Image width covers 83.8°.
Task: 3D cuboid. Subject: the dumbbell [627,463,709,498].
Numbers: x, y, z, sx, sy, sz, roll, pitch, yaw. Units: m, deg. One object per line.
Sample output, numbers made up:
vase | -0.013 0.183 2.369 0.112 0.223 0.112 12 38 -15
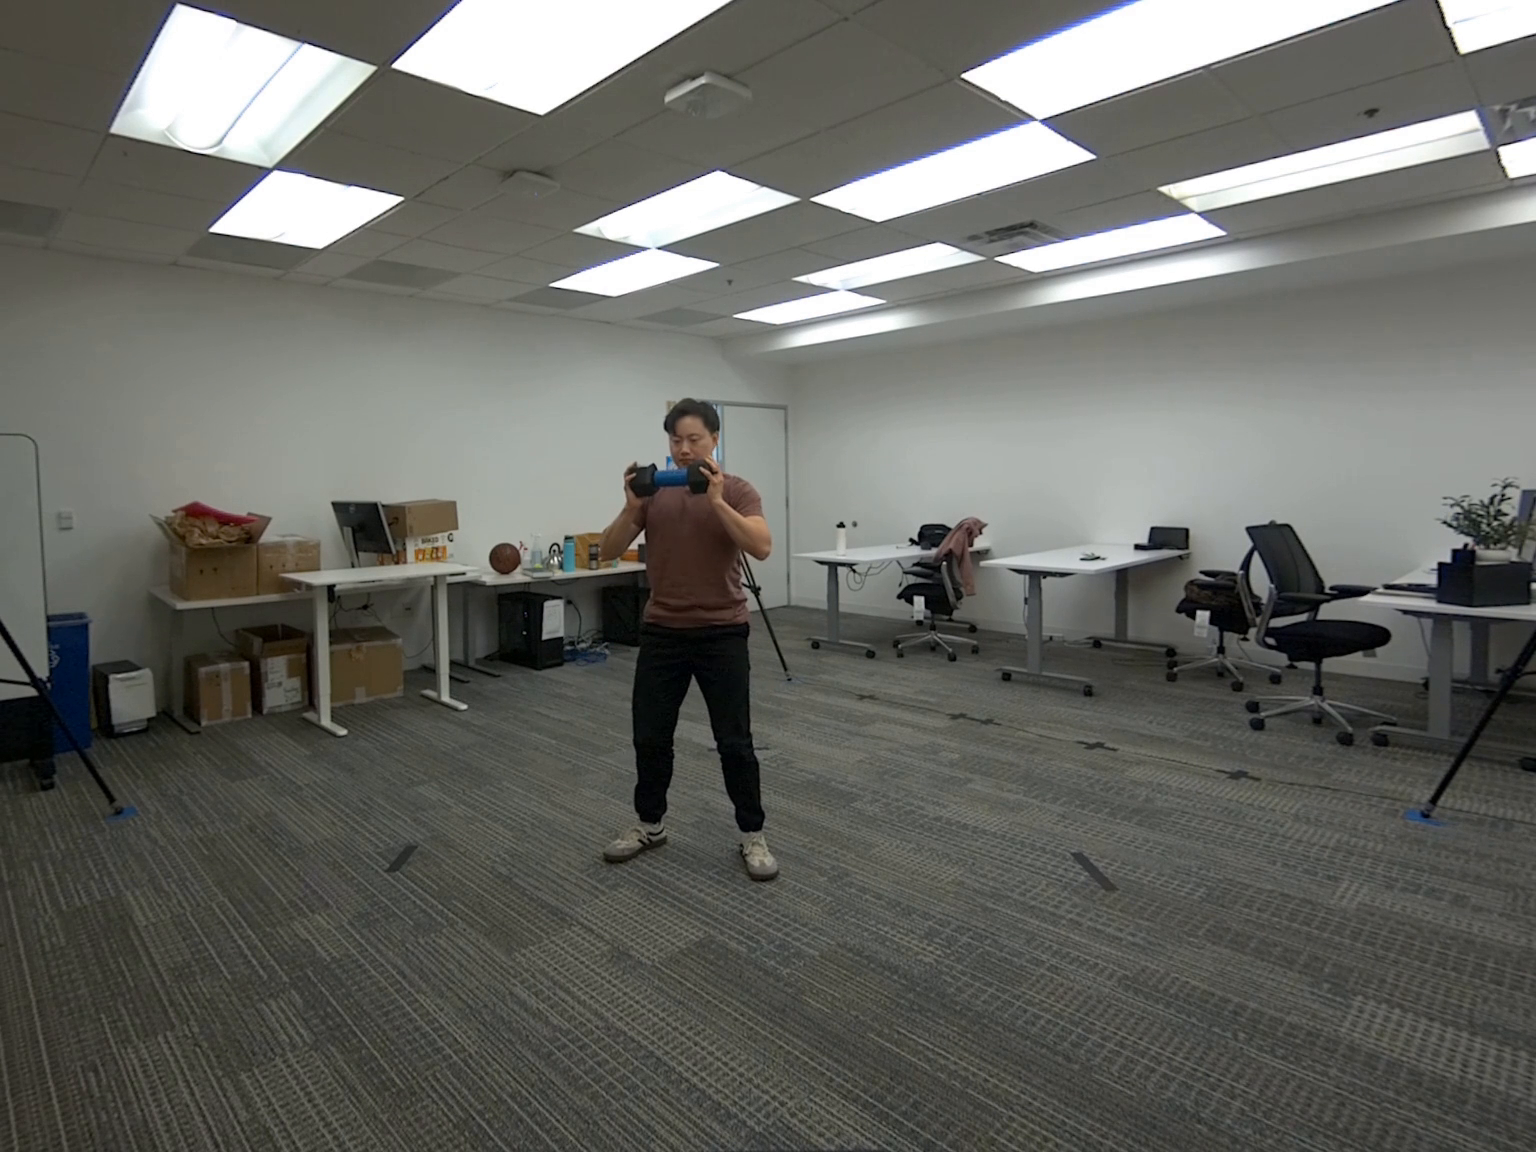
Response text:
dumbbell | -0.324 -0.321 2.953 0.298 0.110 0.119 2 -41 17
